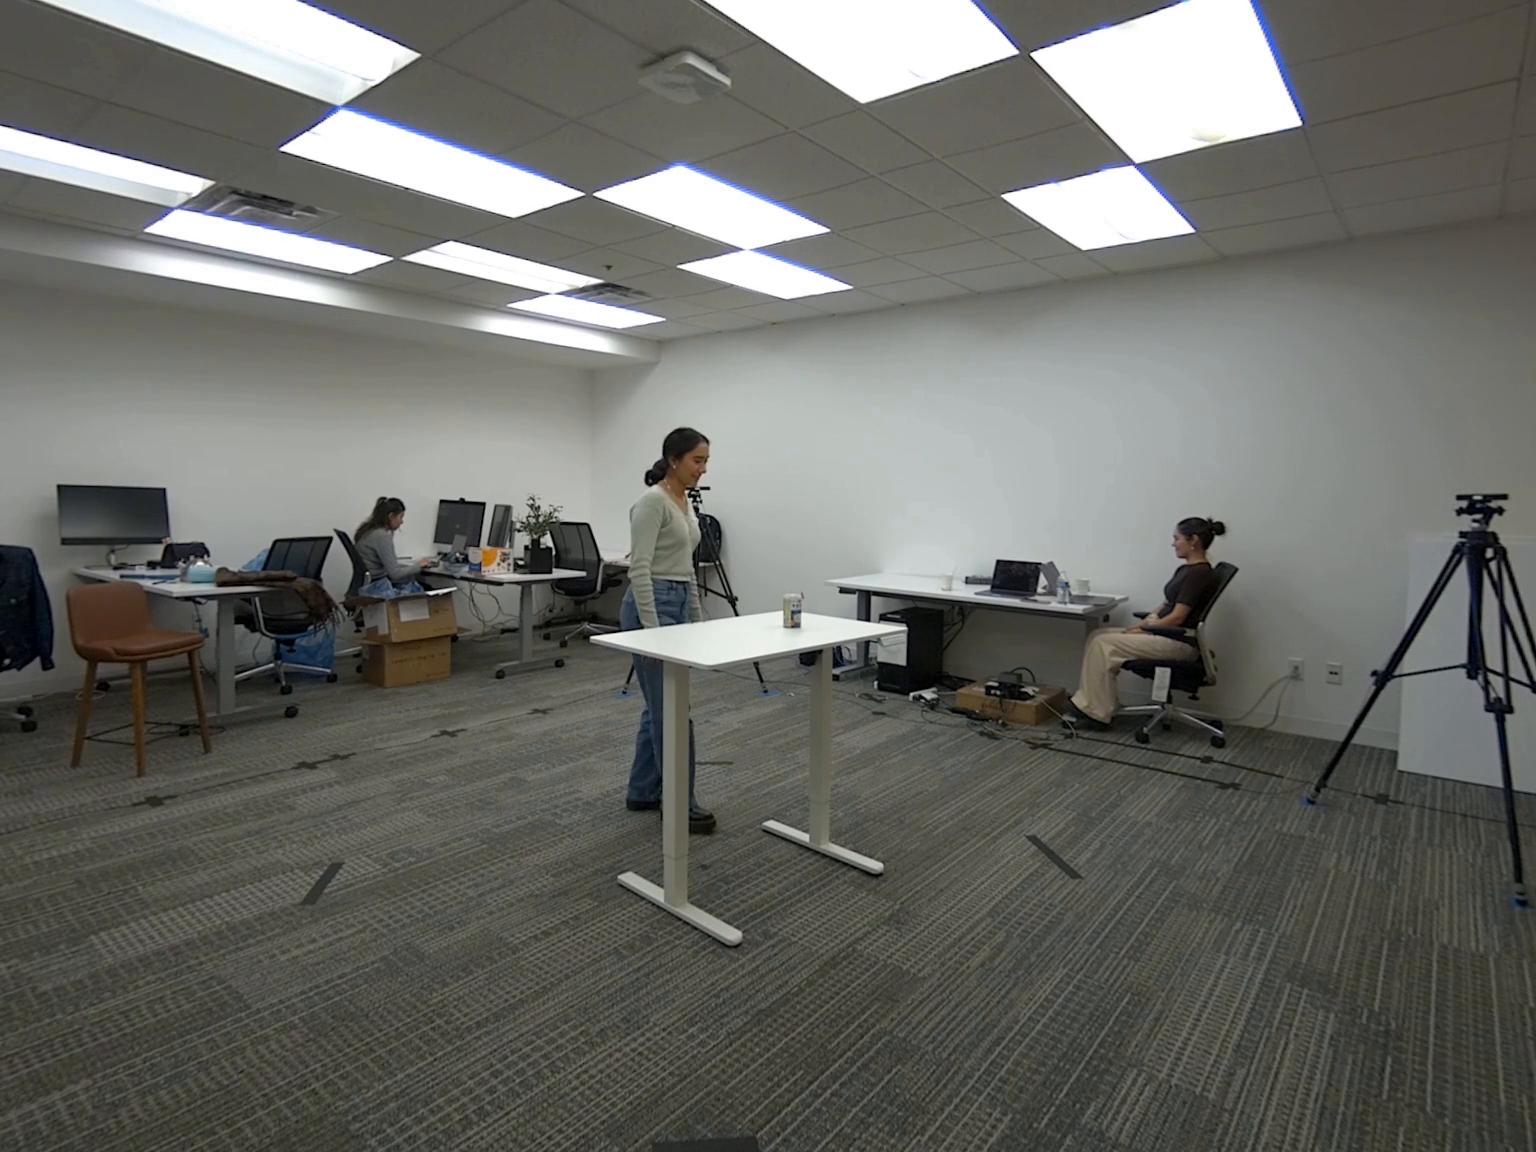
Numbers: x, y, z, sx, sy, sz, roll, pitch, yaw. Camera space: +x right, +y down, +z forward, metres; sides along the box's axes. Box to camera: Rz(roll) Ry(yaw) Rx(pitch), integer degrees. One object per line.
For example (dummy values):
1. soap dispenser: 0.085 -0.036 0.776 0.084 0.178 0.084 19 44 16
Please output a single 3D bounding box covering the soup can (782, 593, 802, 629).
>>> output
1. soup can: 0.088 0.128 3.117 0.067 0.121 0.067 3 1 -2
